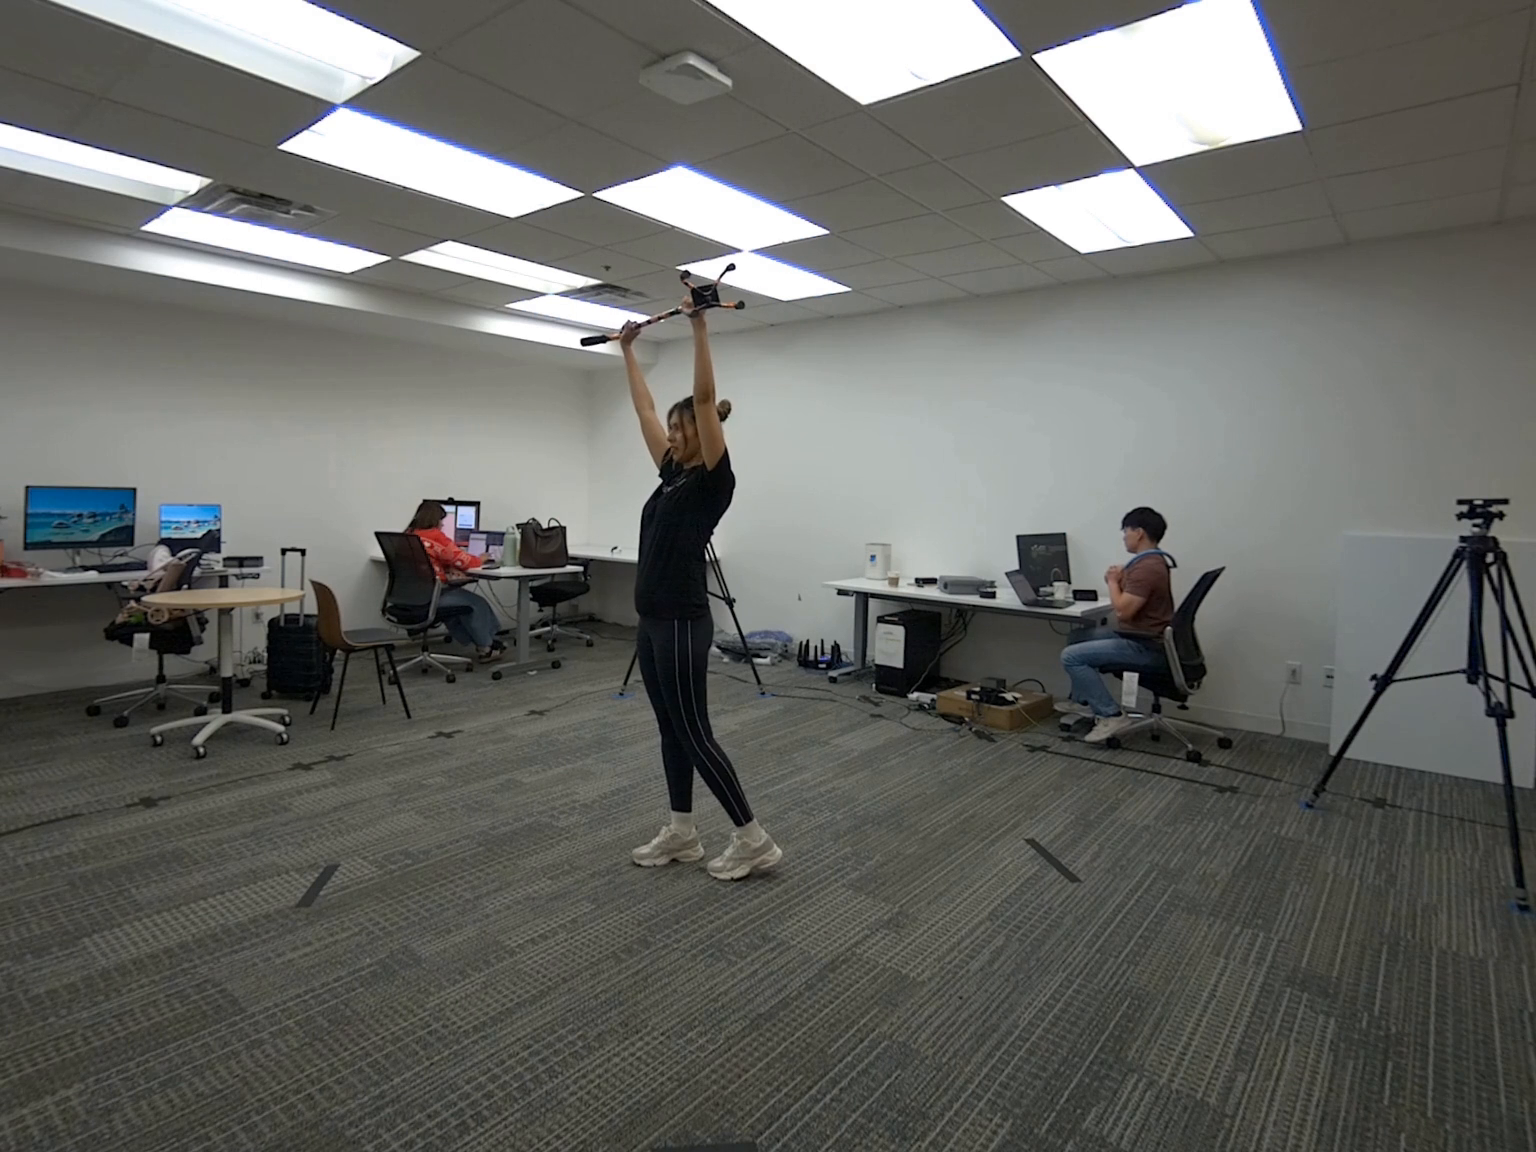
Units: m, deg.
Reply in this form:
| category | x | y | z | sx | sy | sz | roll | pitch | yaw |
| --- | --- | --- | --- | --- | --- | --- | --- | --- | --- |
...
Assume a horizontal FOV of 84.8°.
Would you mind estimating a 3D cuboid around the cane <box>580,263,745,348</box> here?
| category | x | y | z | sx | sy | sz | roll | pitch | yaw |
| --- | --- | --- | --- | --- | --- | --- | --- | --- | --- |
| cane | -0.442 | -0.947 | 3.090 | 0.203 | 0.149 | 0.937 | -22 | 16 | -31 |
